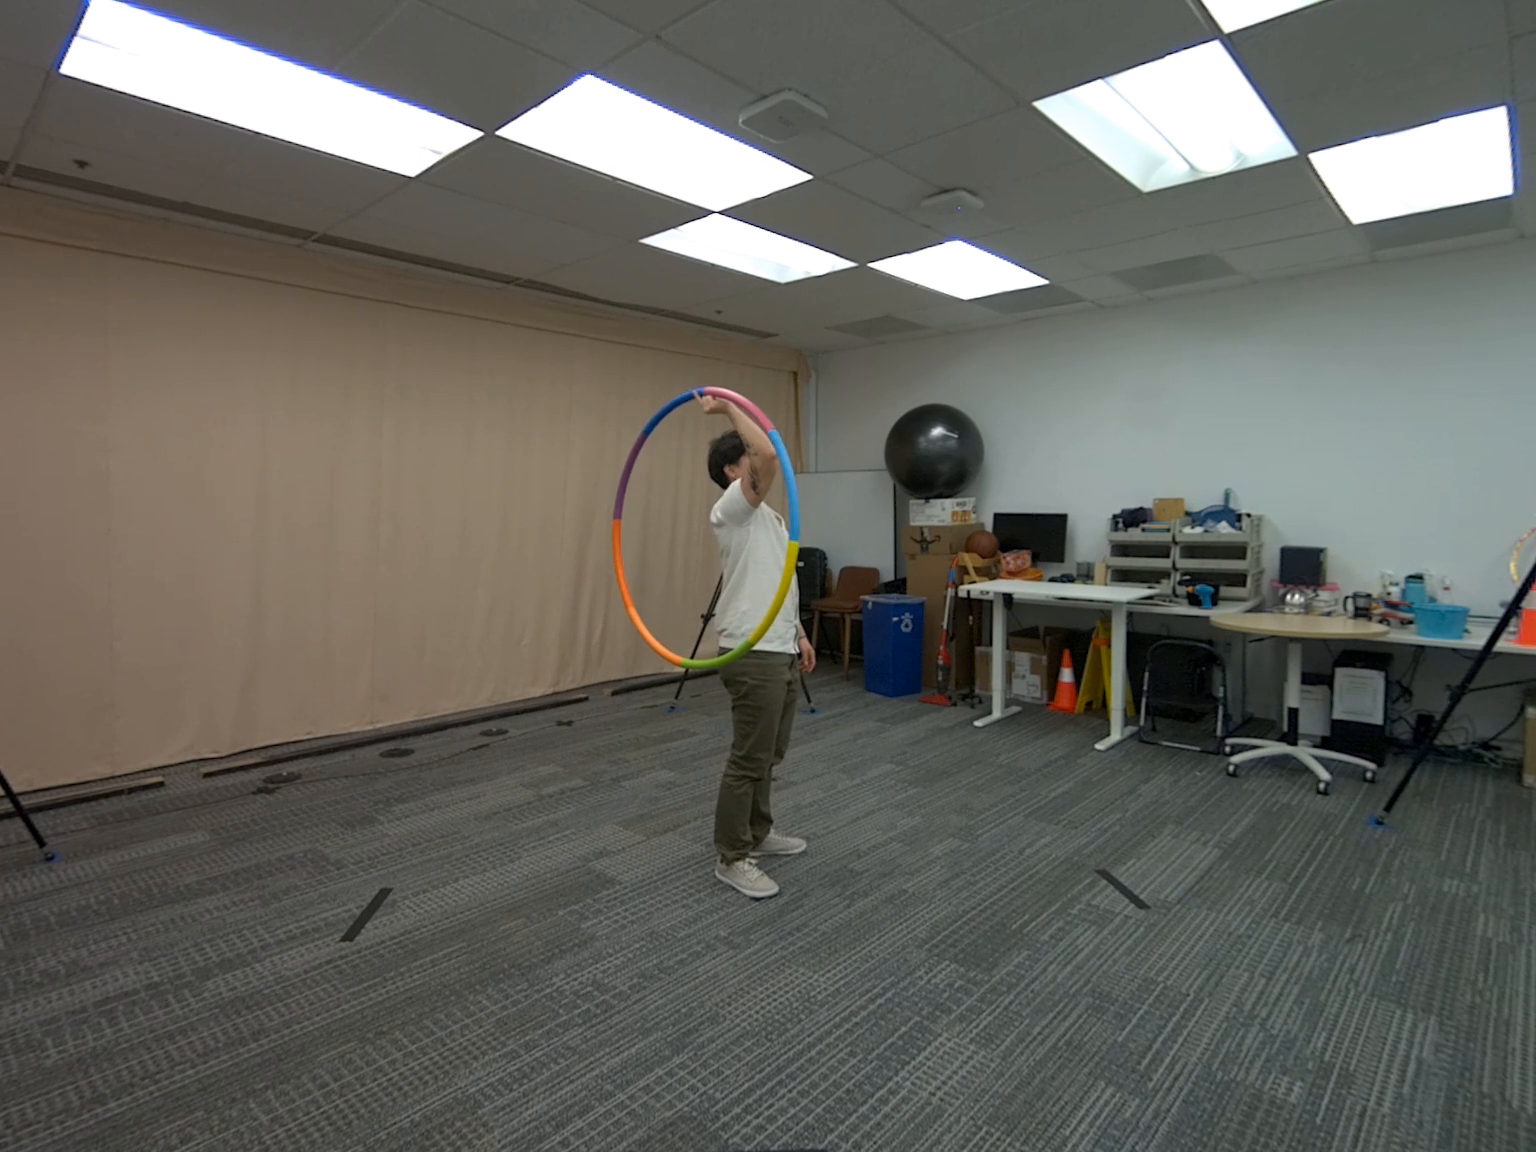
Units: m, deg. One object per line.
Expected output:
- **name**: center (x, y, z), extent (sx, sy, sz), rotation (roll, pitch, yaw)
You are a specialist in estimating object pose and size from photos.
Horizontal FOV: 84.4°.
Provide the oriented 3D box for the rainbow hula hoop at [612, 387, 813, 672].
- **rainbow hula hoop**: center (-0.248, -0.170, 2.980), extent (0.034, 0.978, 1.011), rotation (3, 1, -45)
